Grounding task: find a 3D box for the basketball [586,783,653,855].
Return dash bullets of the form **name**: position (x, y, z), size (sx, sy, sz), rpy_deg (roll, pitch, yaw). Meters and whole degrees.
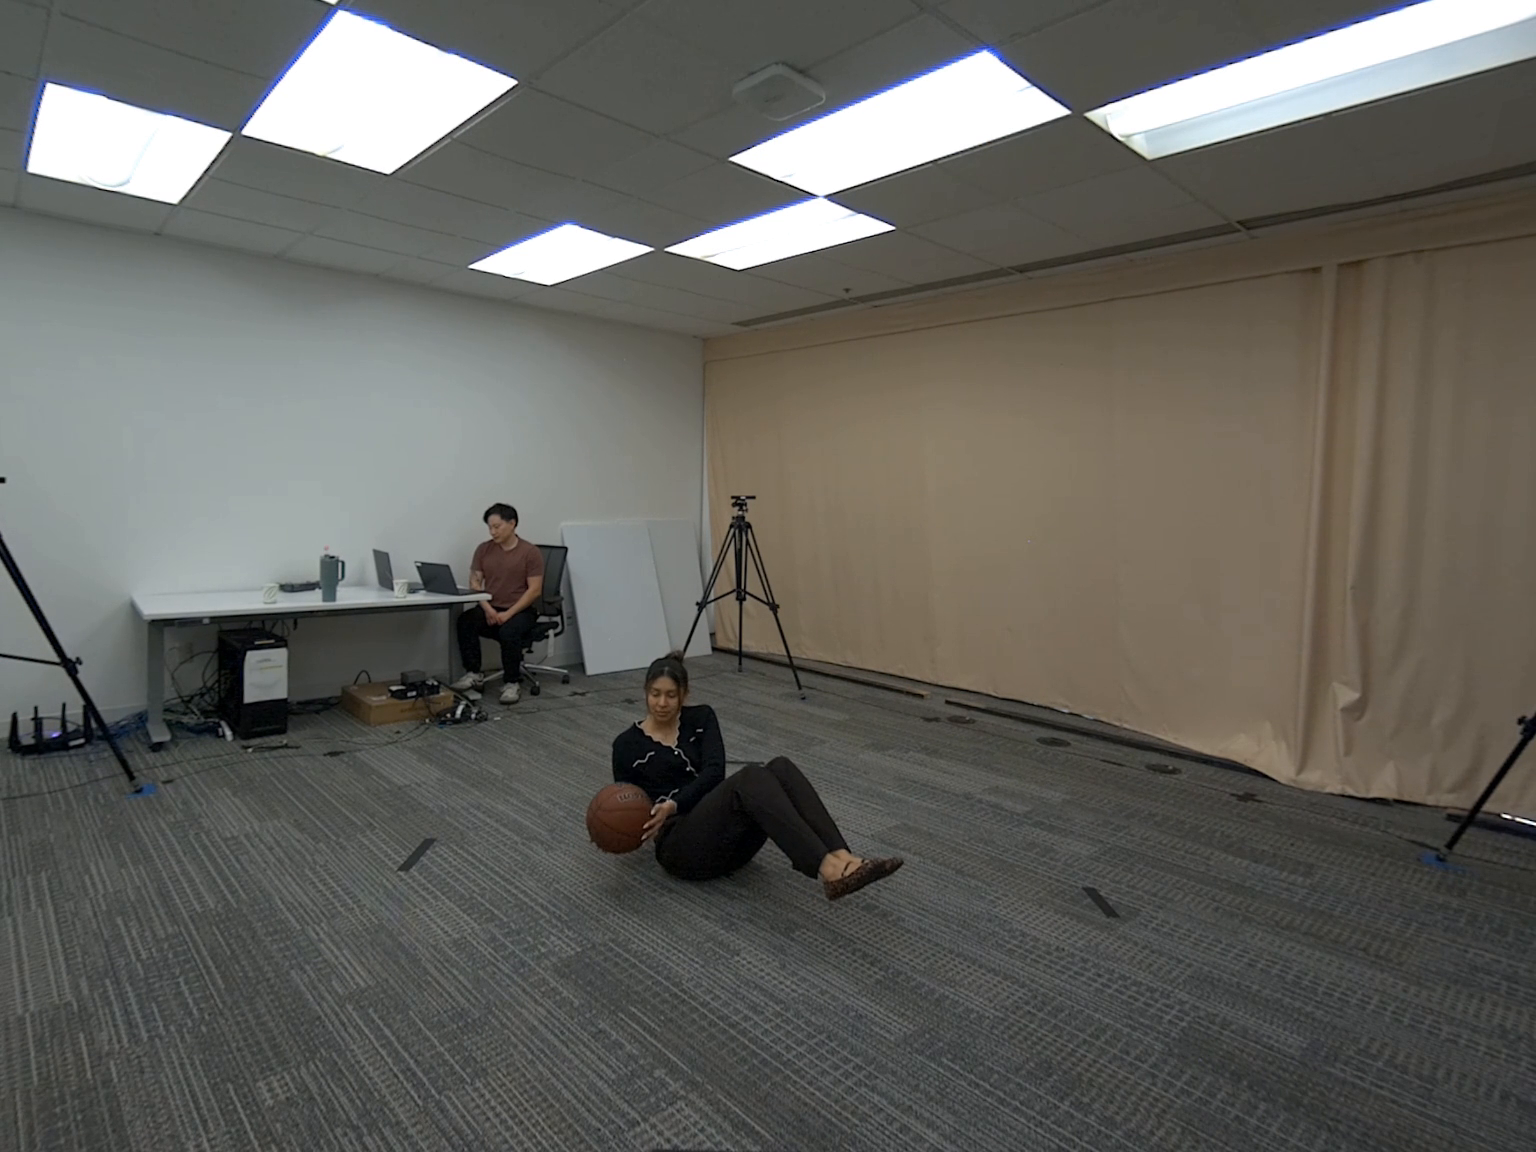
- **basketball**: position (-0.509, 0.821, 2.913), size (0.236, 0.235, 0.237), rpy_deg (1, 4, -1)
